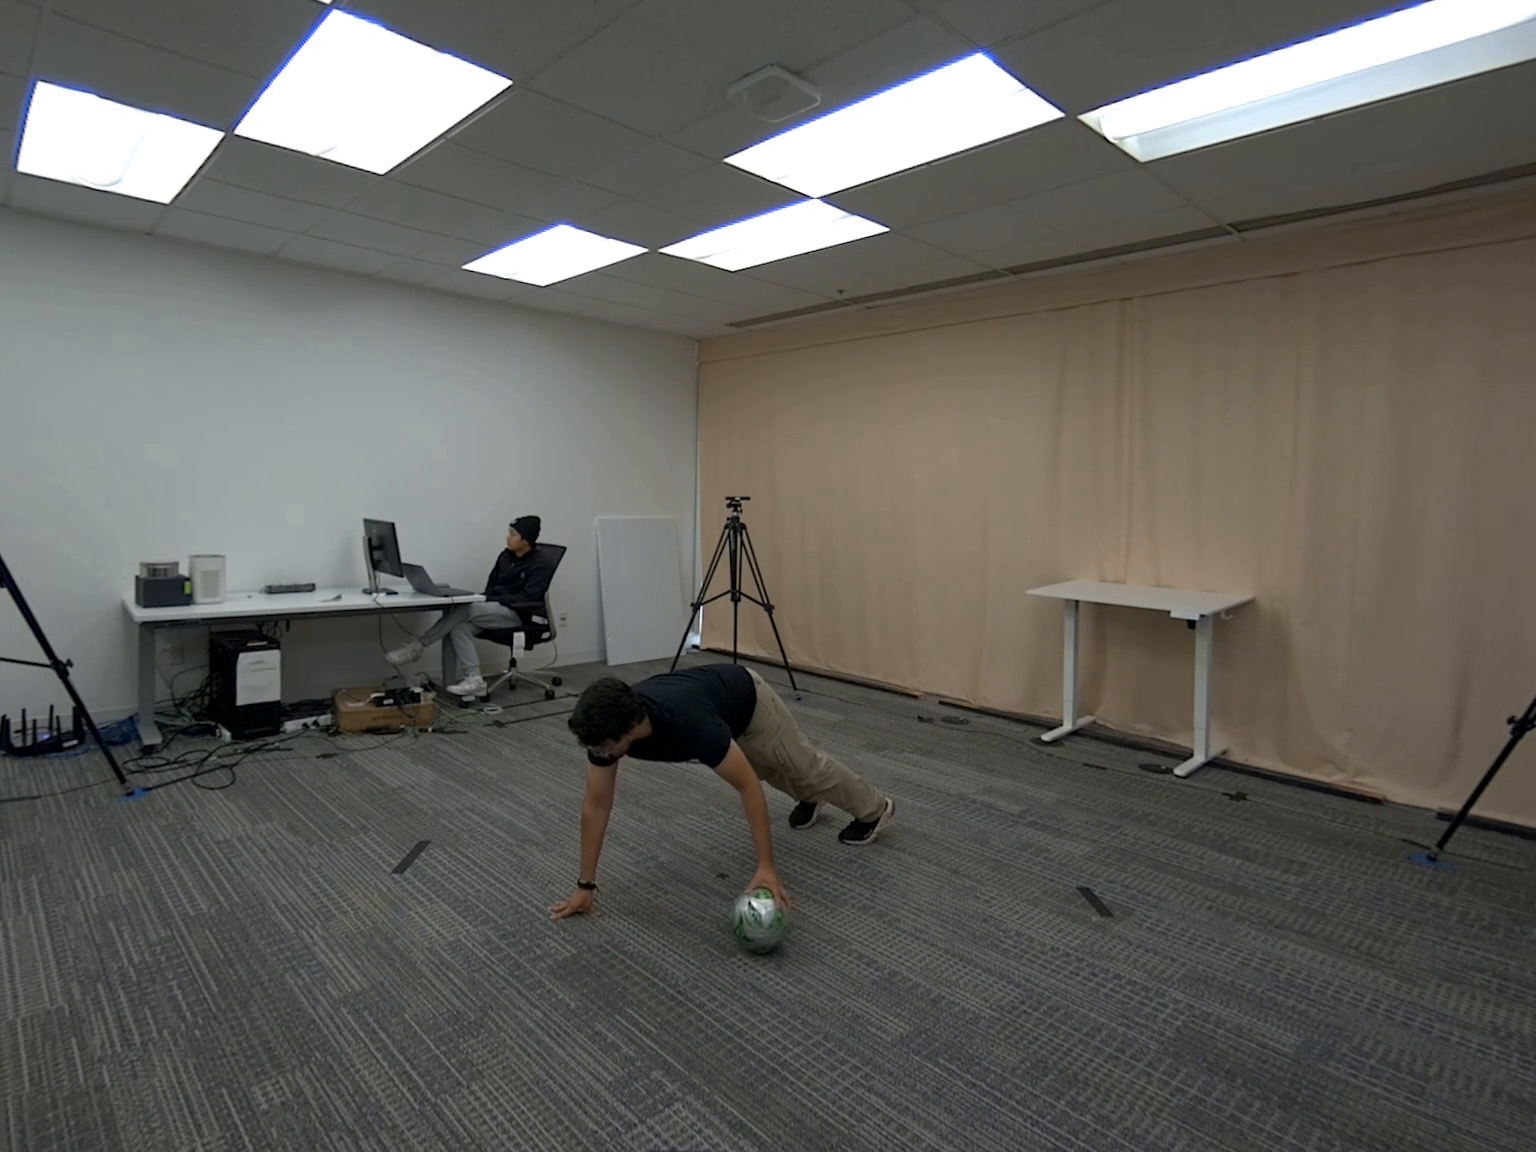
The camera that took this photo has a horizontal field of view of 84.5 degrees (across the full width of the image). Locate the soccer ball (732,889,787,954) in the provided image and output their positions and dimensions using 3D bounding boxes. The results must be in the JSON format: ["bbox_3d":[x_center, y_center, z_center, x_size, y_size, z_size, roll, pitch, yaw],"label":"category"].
[{"bbox_3d":[-0.045,1.064,2.601,0.187,0.187,0.188,1,4,-1],"label":"soccer ball"}]
